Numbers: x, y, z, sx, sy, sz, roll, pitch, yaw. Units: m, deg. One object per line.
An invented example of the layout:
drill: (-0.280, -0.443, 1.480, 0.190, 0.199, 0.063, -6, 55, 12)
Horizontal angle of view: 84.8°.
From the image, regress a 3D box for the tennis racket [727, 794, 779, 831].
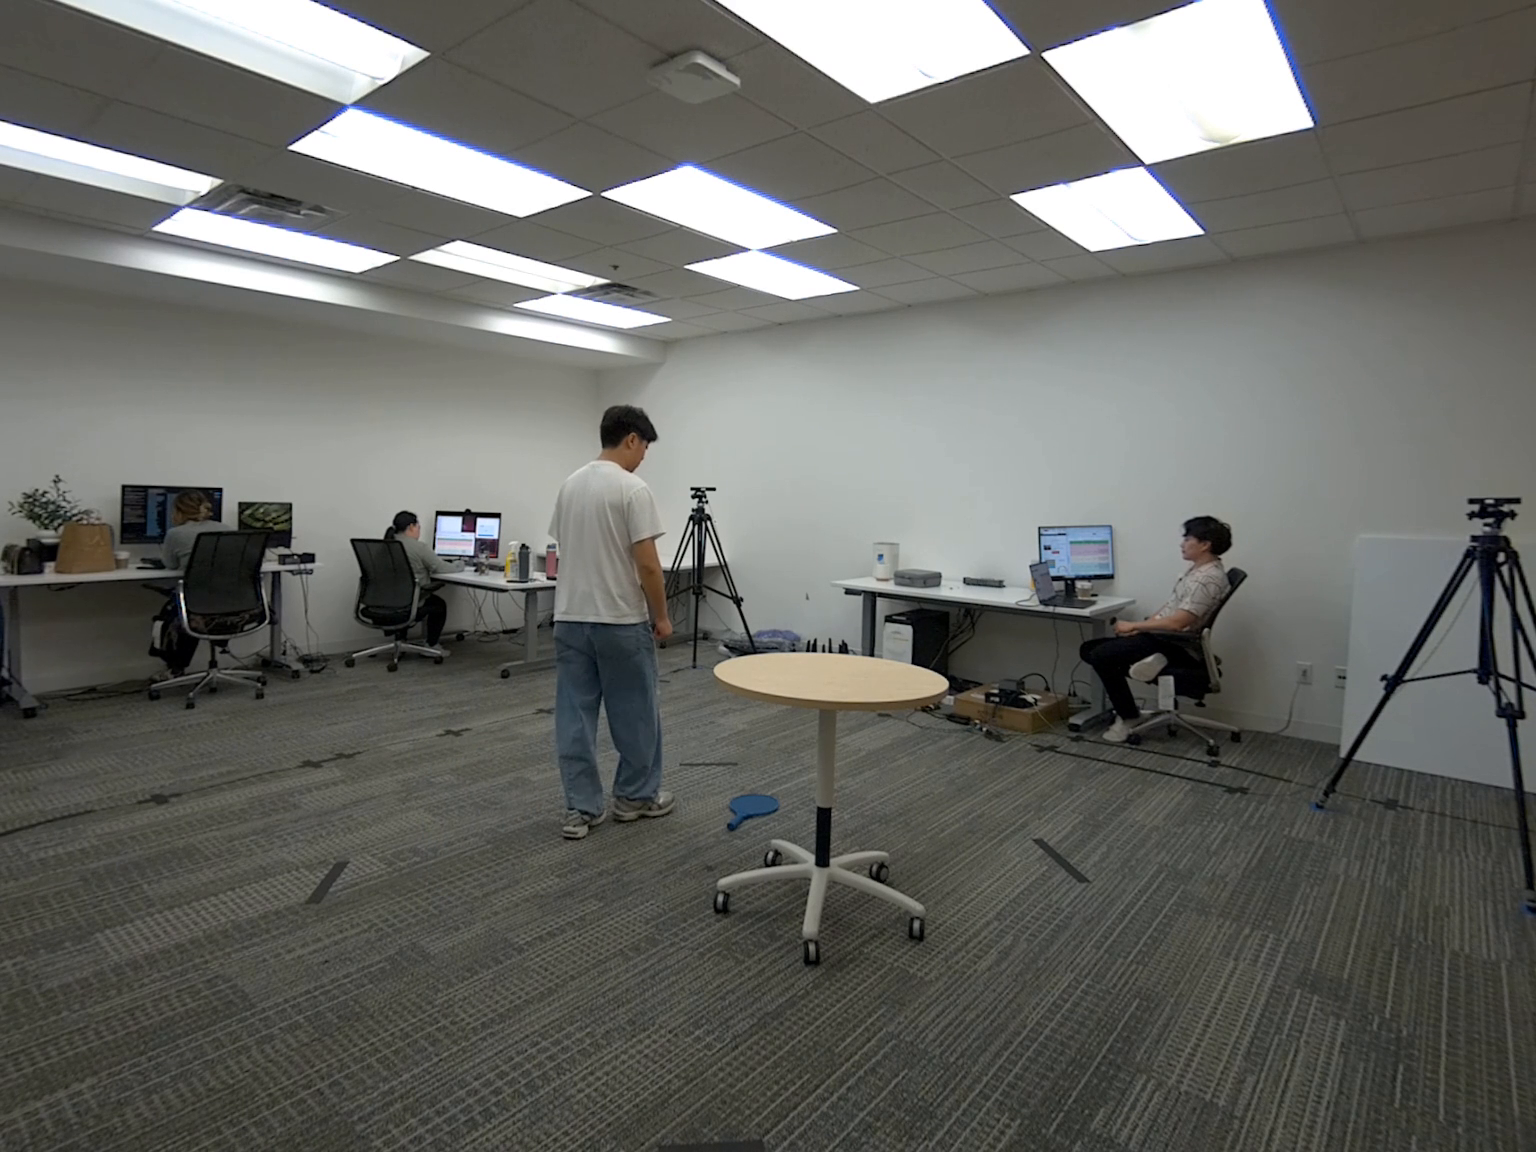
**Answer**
tennis racket: (-0.098, 1.002, 3.645, 0.218, 0.032, 0.424, 2, 4, 20)
